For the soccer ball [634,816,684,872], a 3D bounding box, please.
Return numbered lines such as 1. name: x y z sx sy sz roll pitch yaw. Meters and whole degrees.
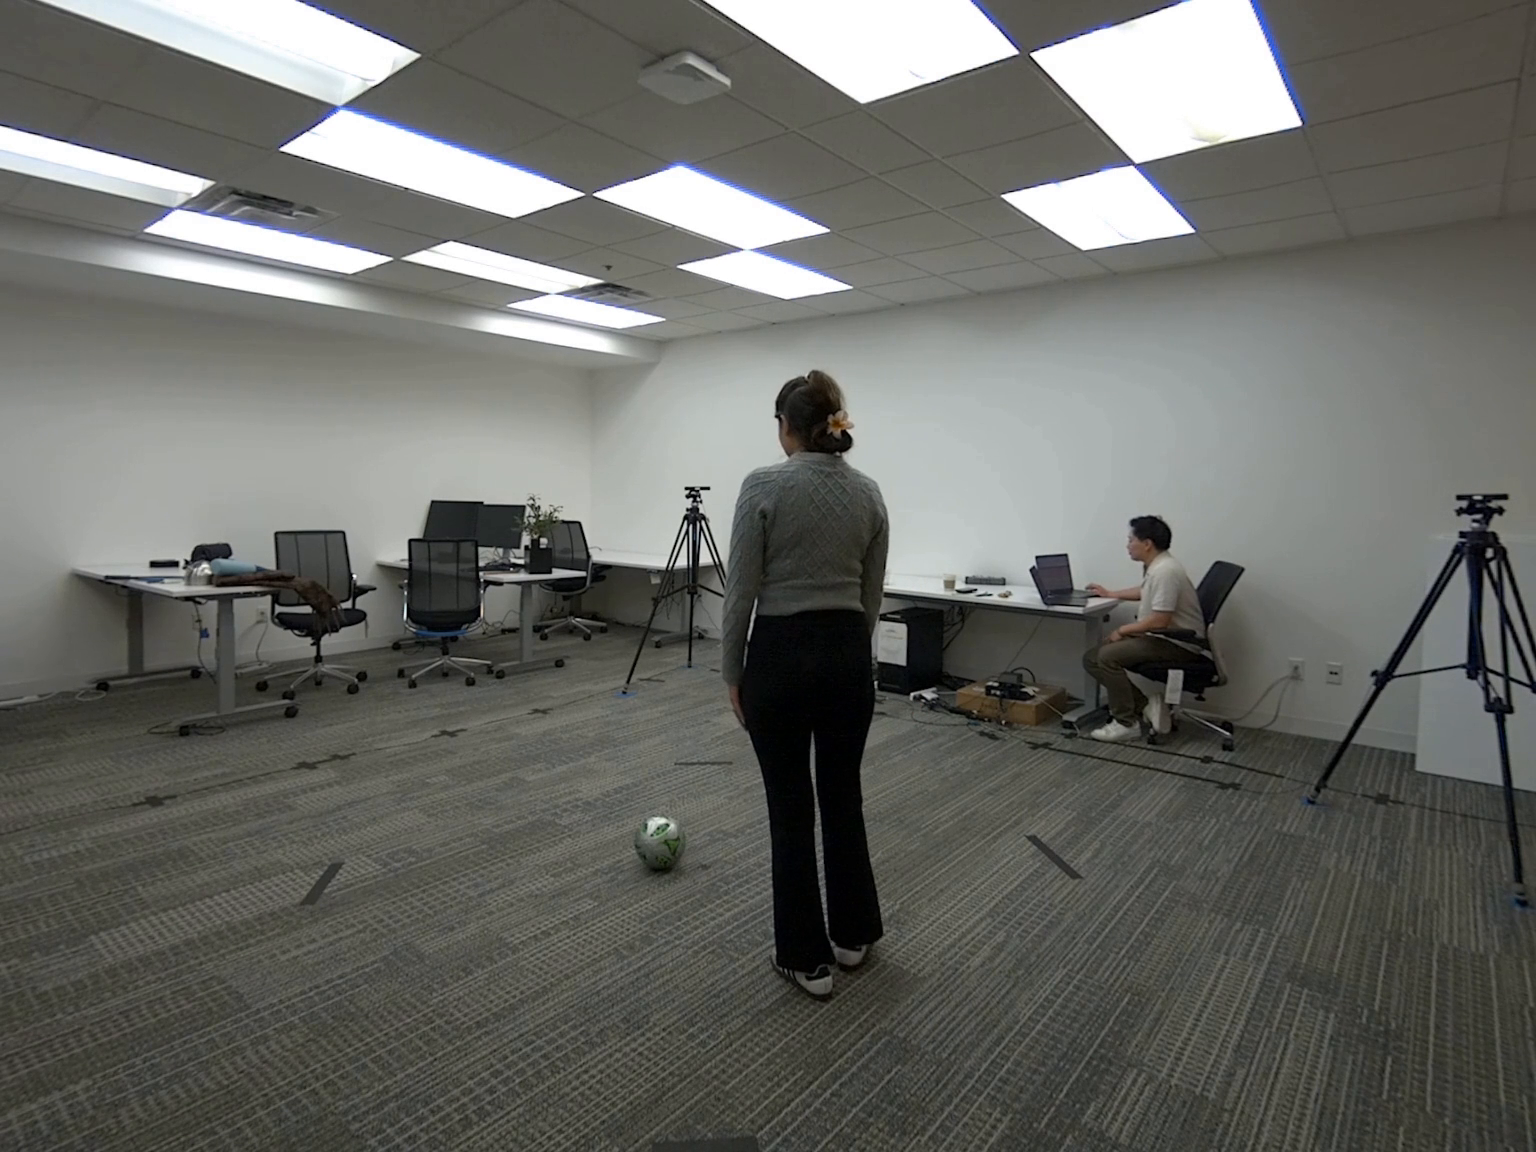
1. soccer ball: -0.398 0.969 3.110 0.187 0.187 0.188 0 4 -2
